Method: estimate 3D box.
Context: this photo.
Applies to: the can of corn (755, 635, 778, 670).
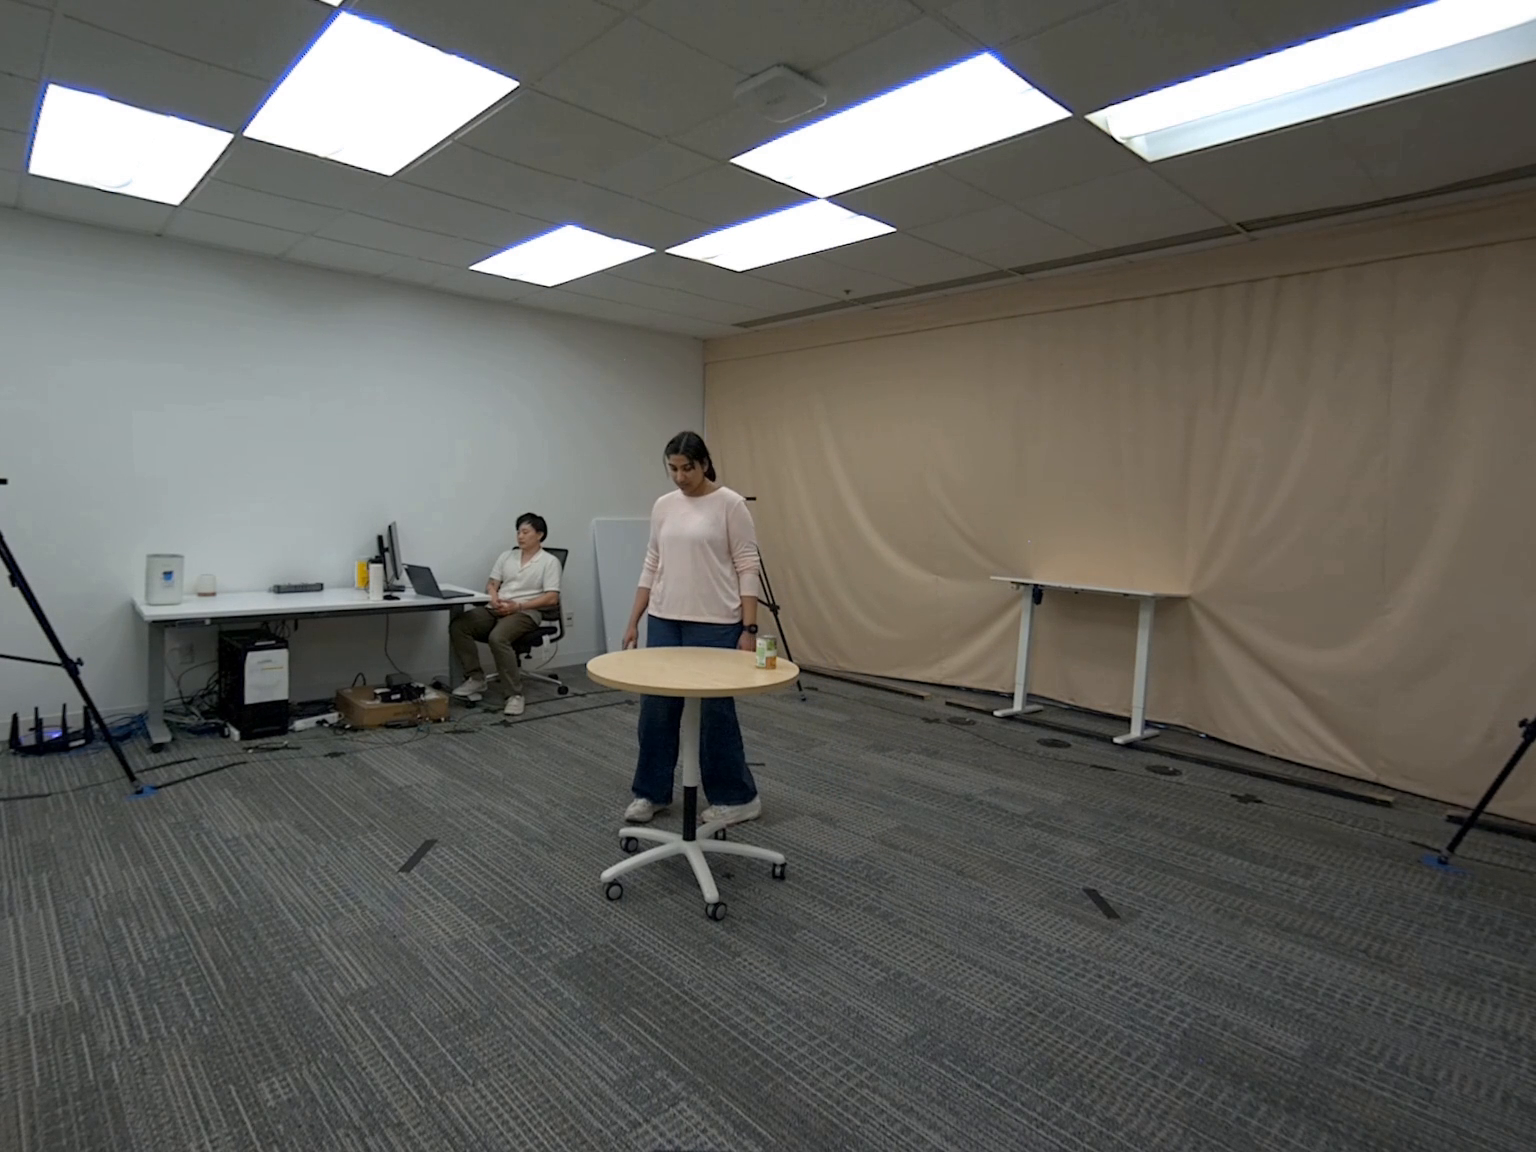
[{"bbox_3d":[-0.014,0.281,3.047,0.074,0.111,0.074,4,3,-2],"label":"can of corn"}]
